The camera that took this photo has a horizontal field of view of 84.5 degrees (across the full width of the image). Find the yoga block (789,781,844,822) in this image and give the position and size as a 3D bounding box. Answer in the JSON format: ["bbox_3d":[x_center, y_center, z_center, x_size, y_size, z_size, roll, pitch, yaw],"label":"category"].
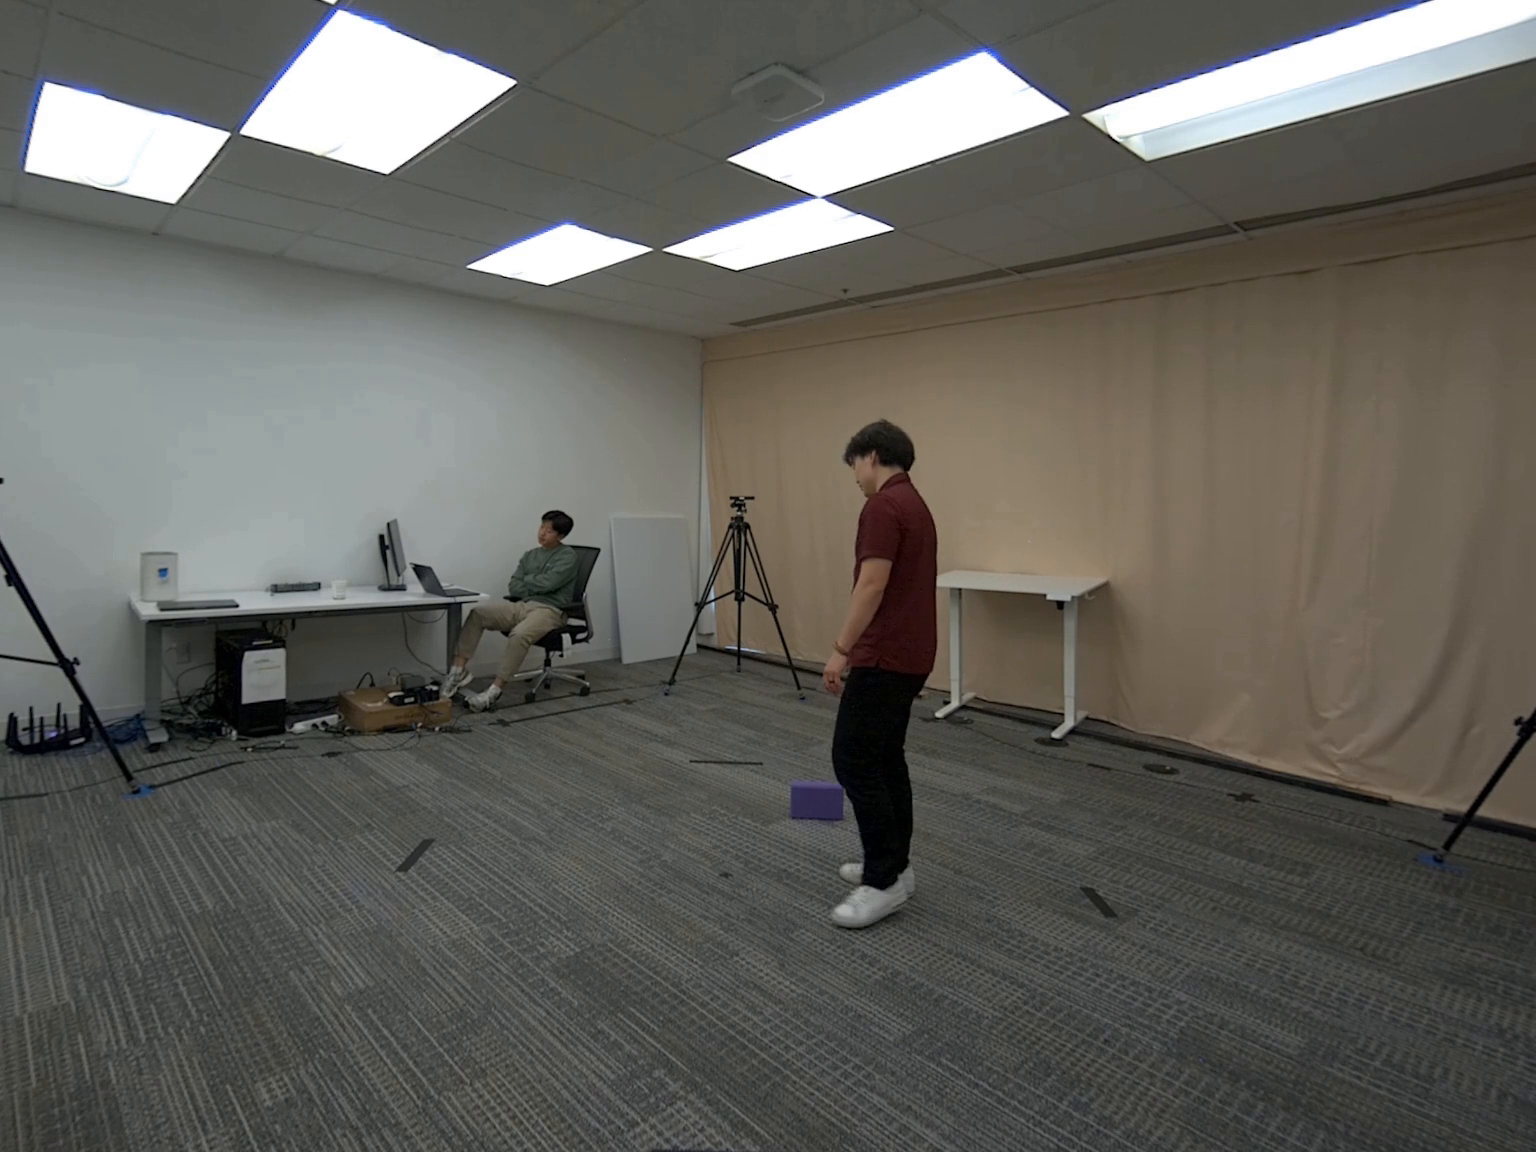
[{"bbox_3d":[0.206,0.981,3.705,0.230,0.149,0.076,2,2,2],"label":"yoga block"}]
